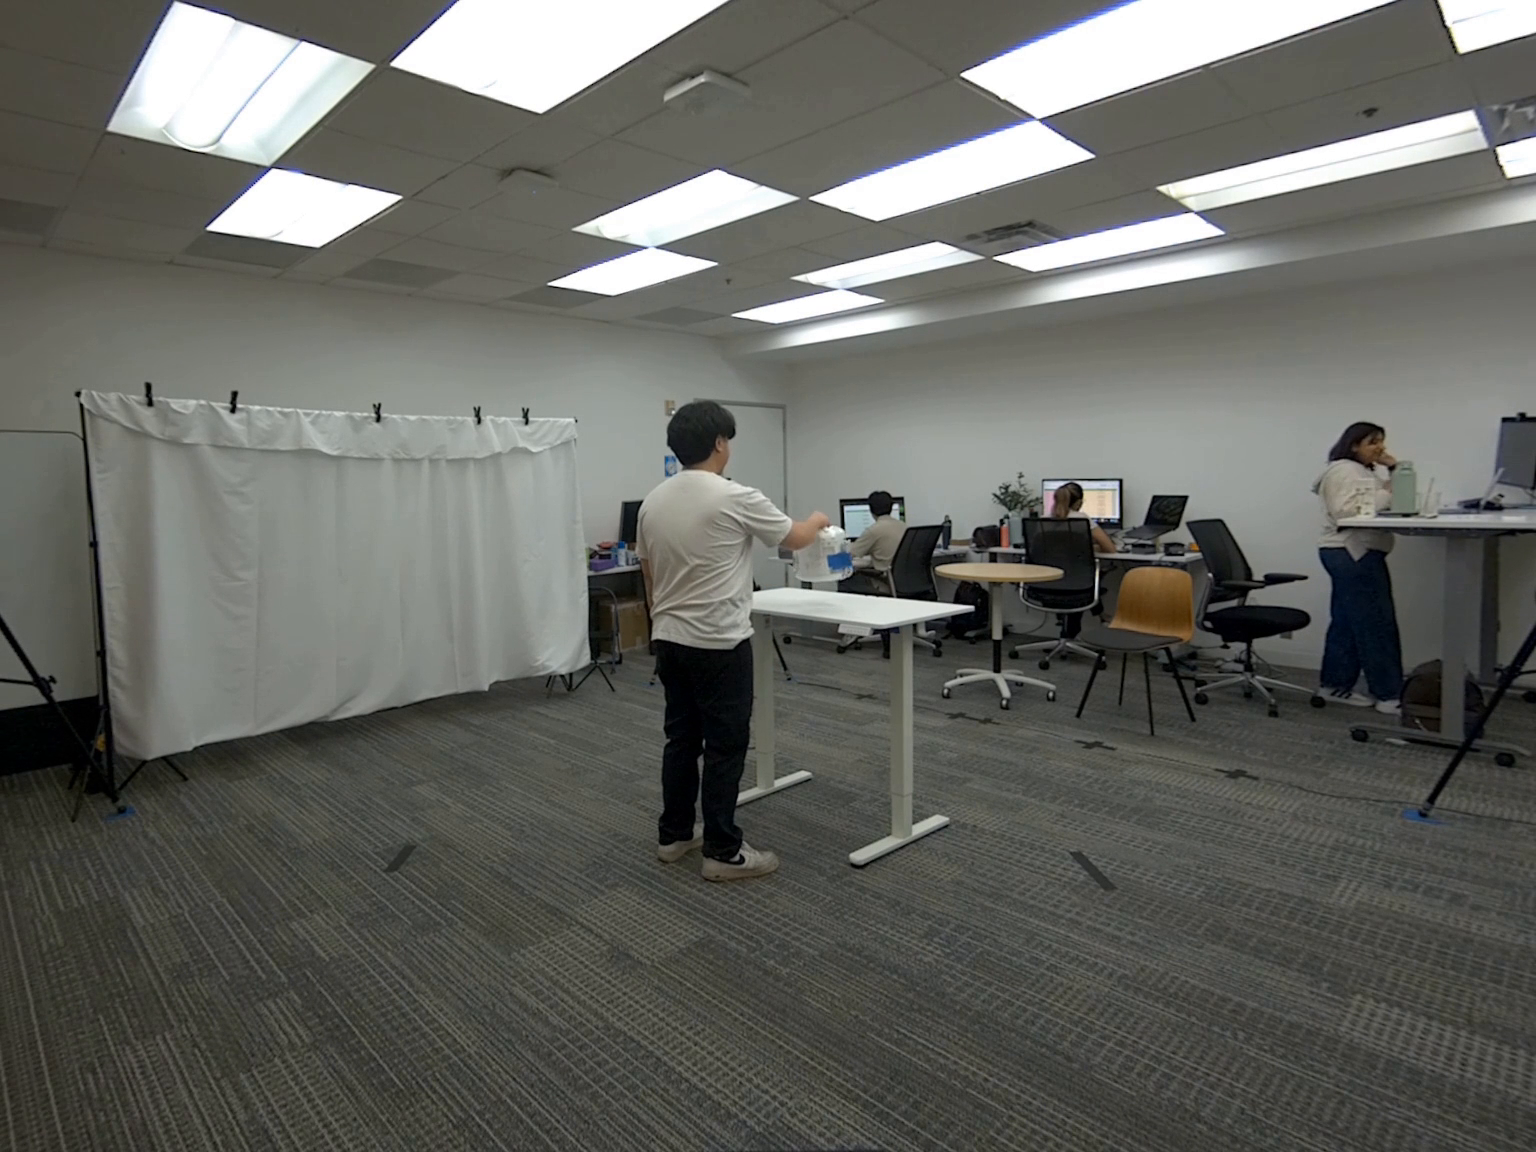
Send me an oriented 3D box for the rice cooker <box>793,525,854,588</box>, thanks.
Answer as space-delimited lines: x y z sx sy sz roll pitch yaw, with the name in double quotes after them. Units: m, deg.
0.212 -0.101 3.424 0.215 0.231 0.224 -4 7 -13 "rice cooker"
